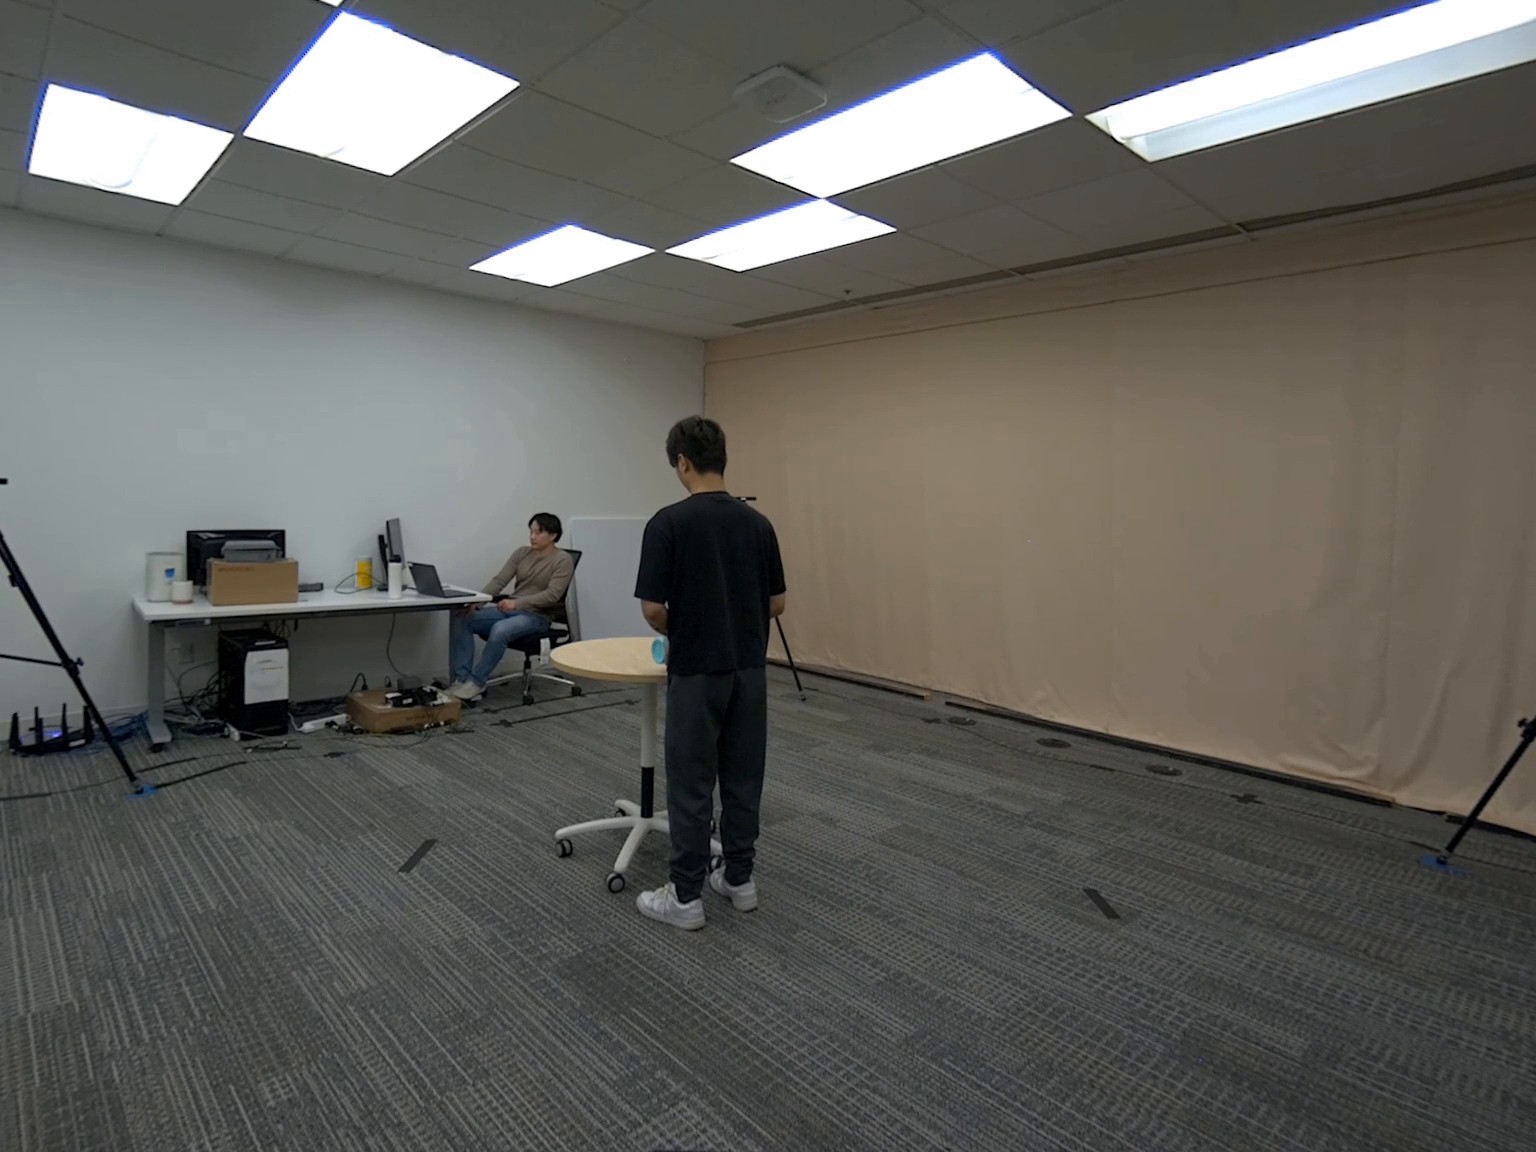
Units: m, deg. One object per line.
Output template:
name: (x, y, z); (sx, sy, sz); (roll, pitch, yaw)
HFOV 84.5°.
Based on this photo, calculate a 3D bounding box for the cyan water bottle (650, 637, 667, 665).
cyan water bottle: (-0.285, 0.252, 3.018); (0.277, 0.092, 0.094); (-5, 7, -37)
